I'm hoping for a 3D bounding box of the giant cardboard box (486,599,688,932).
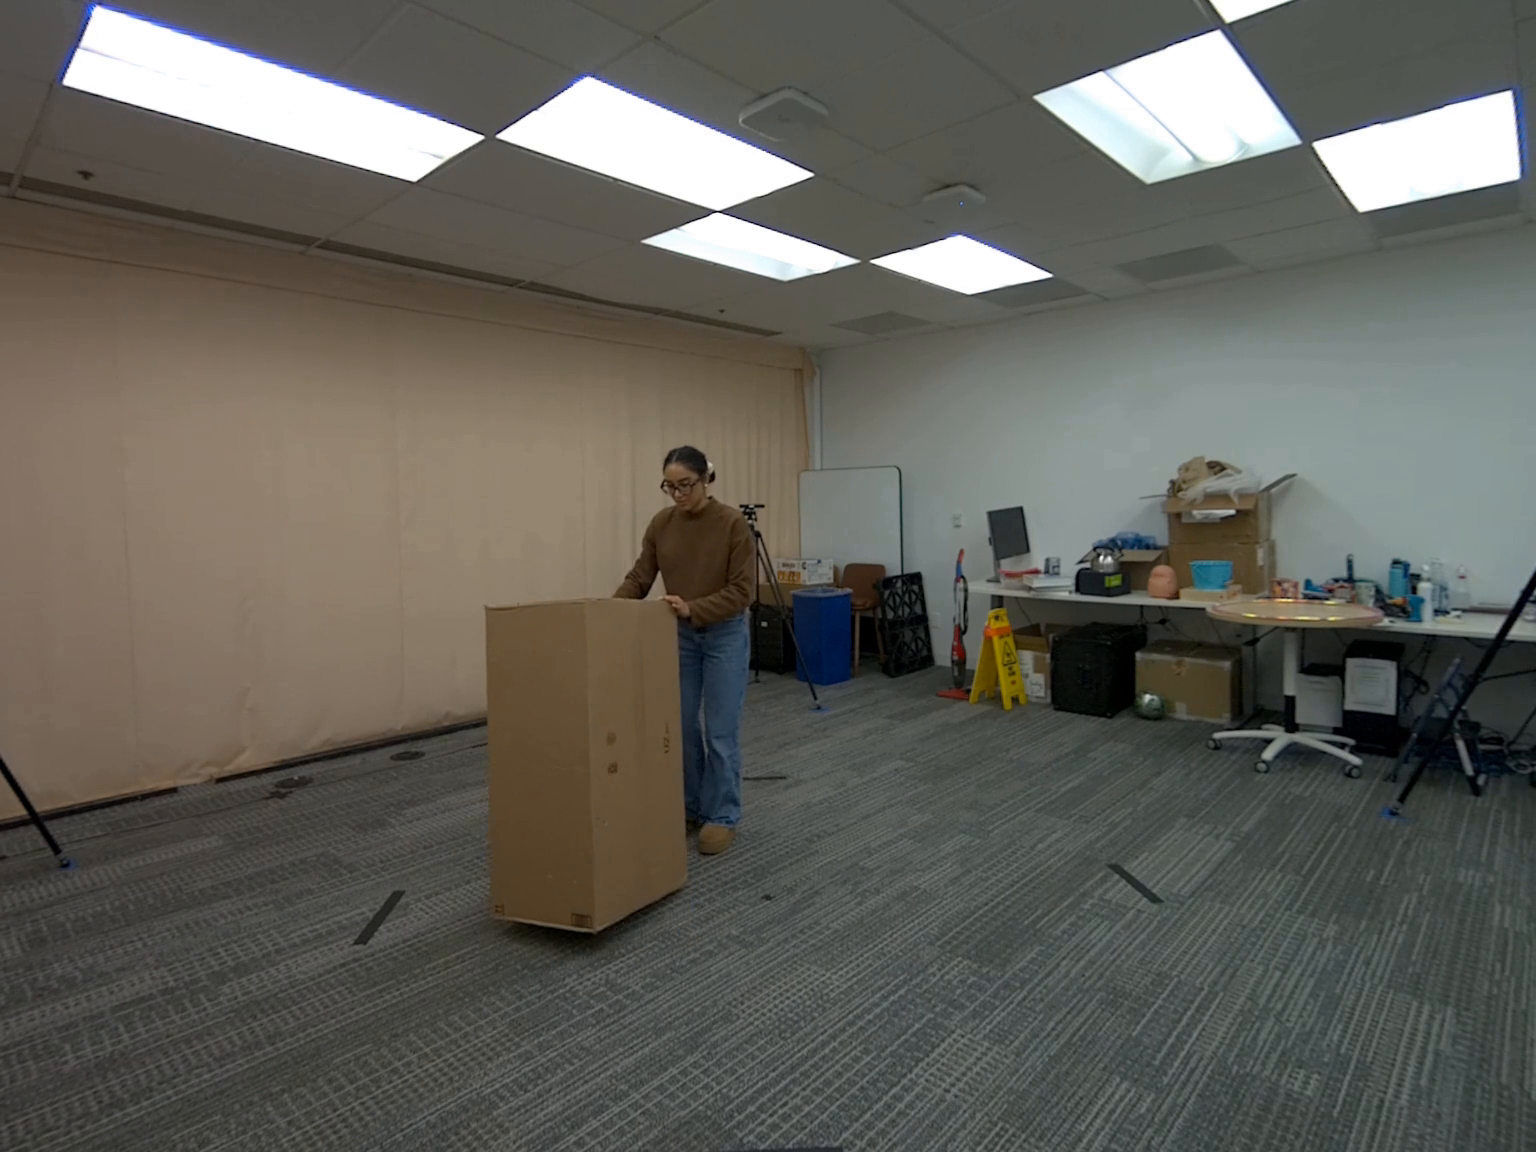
[{"bbox_3d":[-0.625,0.613,2.956,0.457,1.031,0.568,-5,-6,25],"label":"giant cardboard box"}]
